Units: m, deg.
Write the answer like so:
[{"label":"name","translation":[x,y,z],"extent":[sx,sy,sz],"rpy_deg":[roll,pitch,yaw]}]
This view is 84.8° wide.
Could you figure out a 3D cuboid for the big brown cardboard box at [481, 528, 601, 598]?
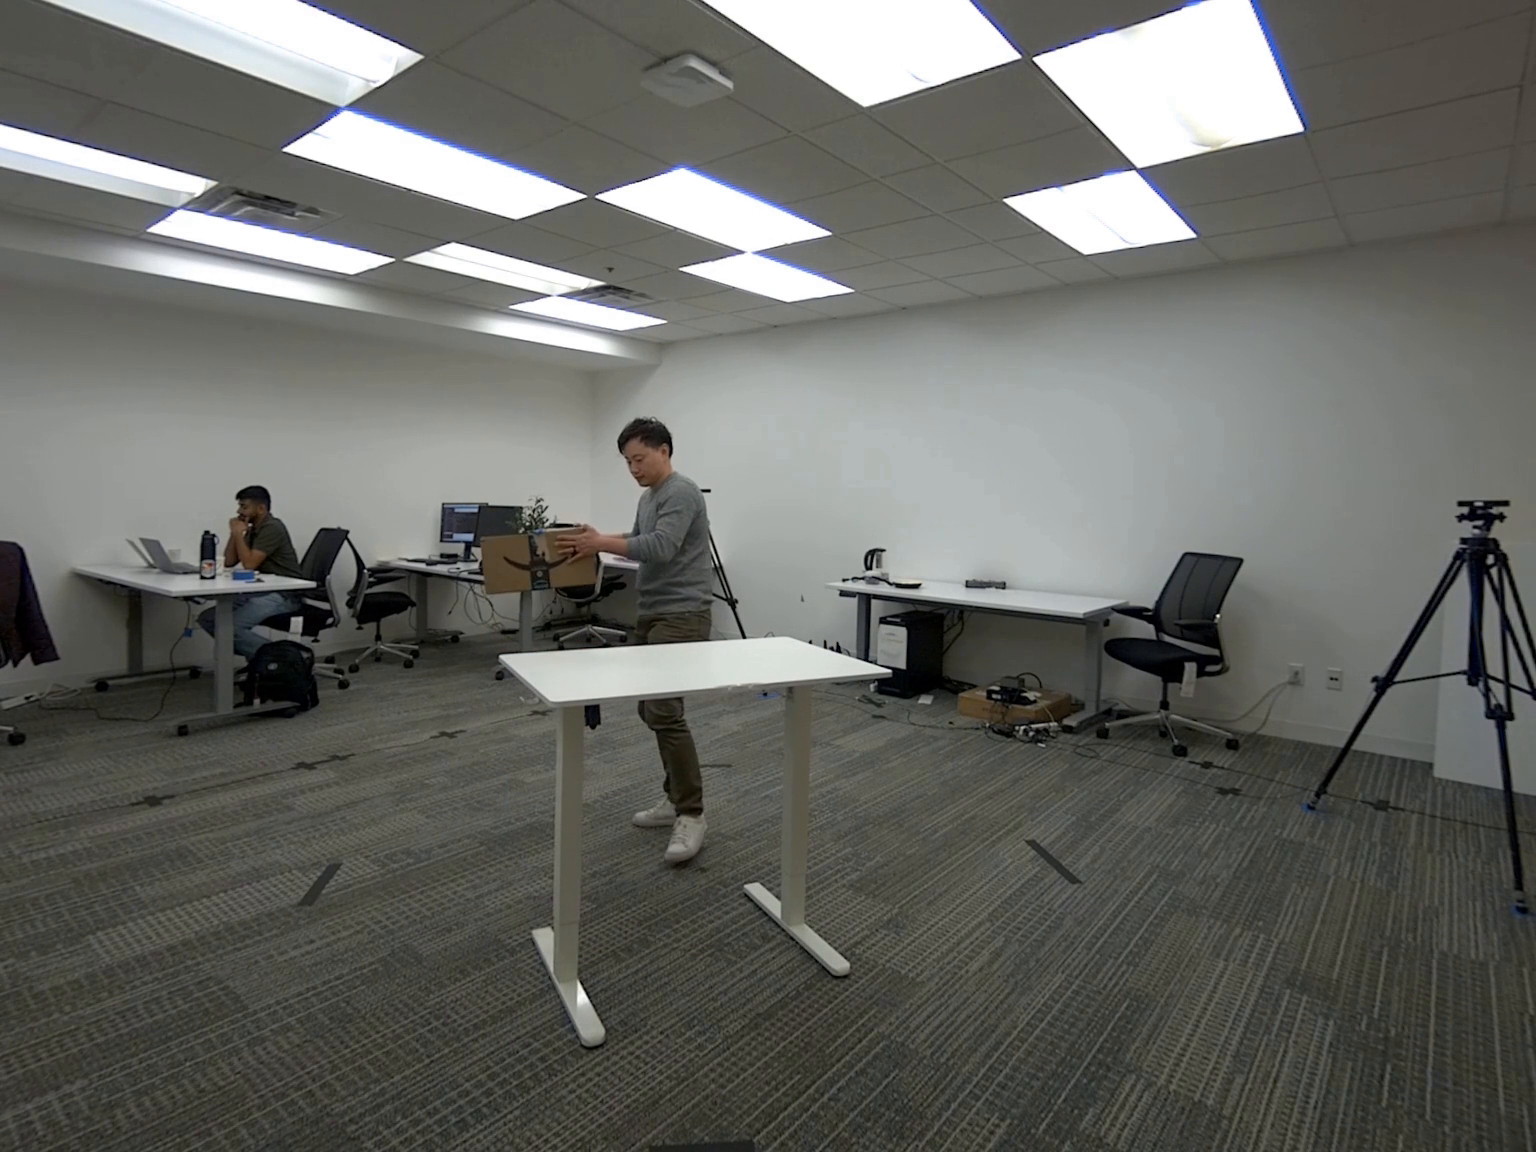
[{"label":"big brown cardboard box","translation":[-0.934,-0.070,3.463],"extent":[0.413,0.232,0.597],"rpy_deg":[-6,5,-11]}]
